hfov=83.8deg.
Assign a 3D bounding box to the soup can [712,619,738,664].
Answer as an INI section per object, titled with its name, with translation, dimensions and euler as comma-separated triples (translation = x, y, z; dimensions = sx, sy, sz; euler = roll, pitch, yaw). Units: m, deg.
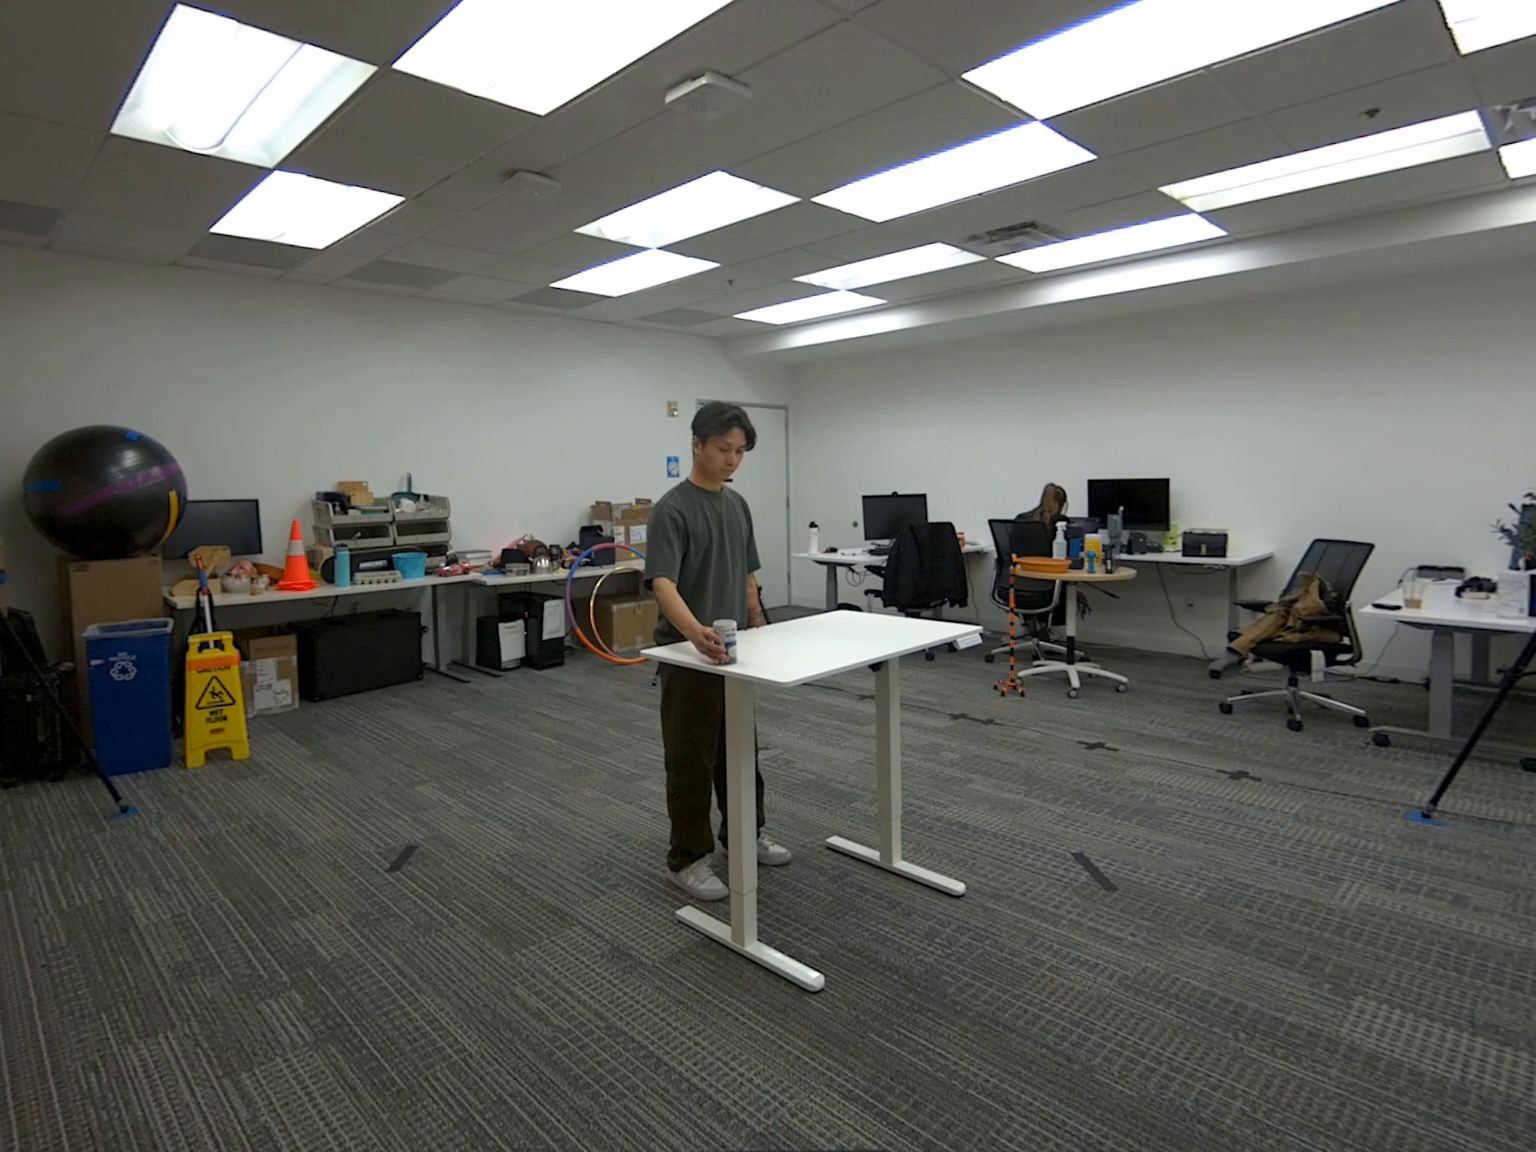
[soup can]
translation = -0.119, 0.191, 2.406
dimensions = 0.067, 0.121, 0.067
euler = -5, 5, -1
